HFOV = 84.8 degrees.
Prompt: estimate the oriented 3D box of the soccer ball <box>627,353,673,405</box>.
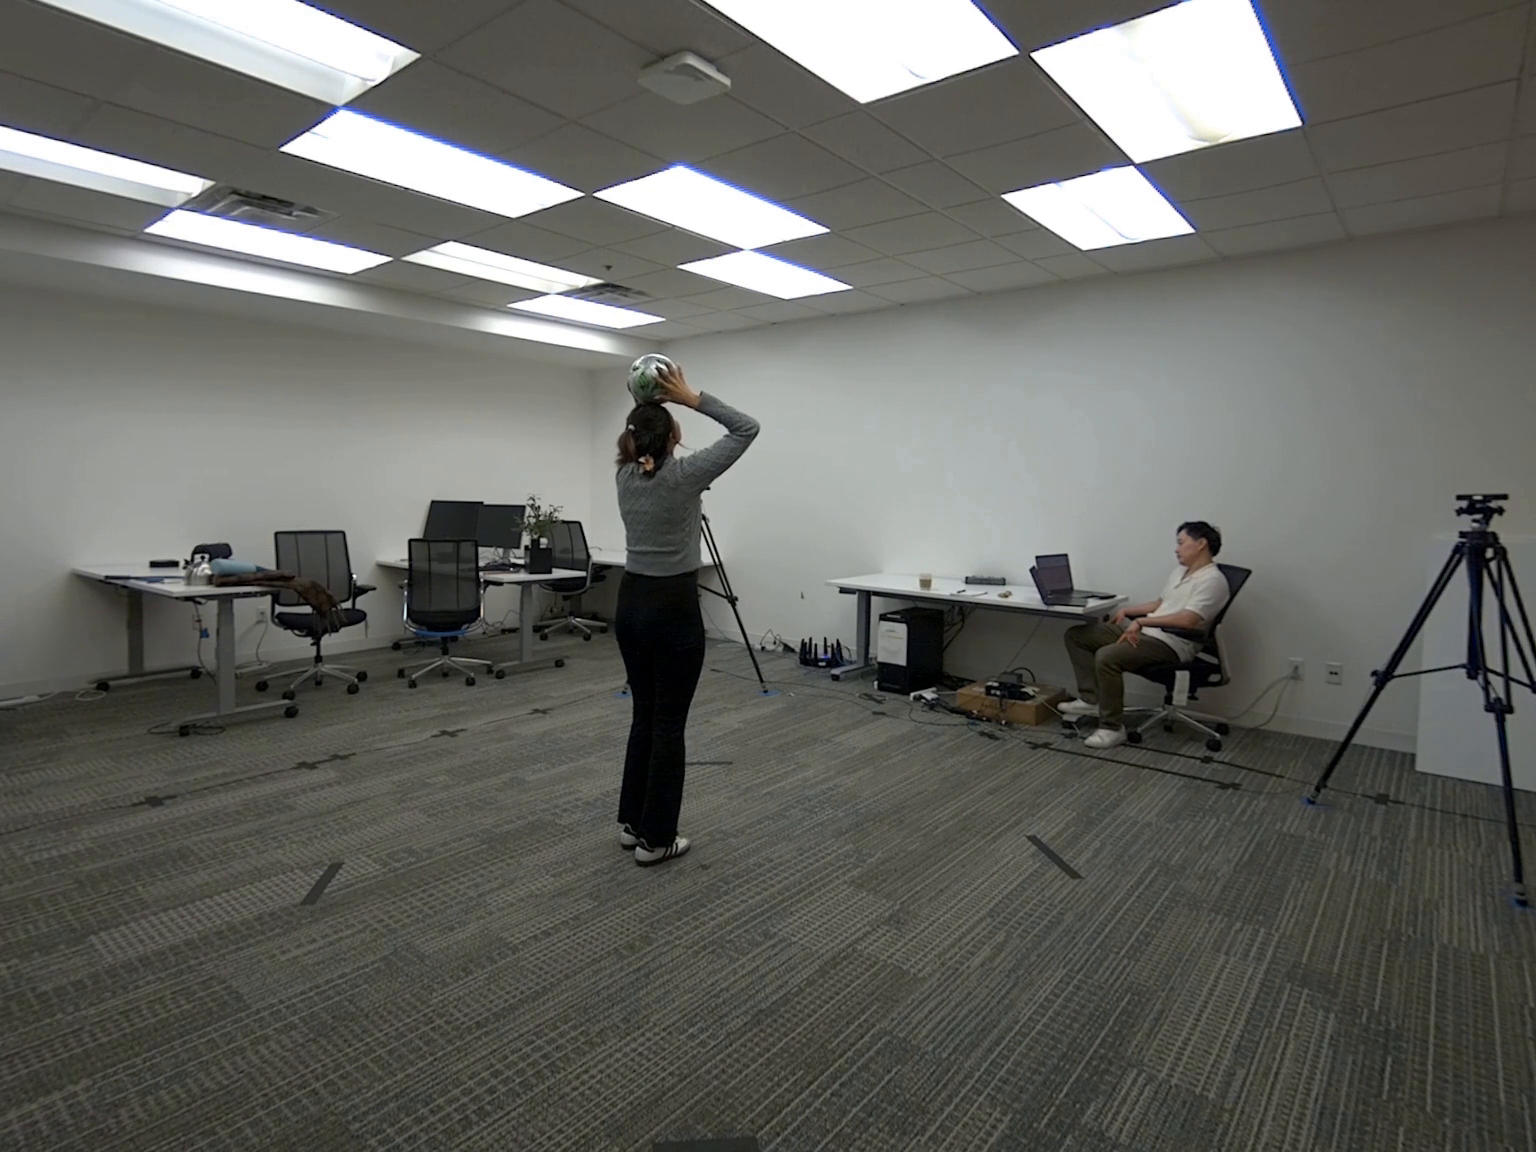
[{"bbox_3d":[-0.435,-0.726,3.140,0.187,0.187,0.188,1,4,-2],"label":"soccer ball"}]
